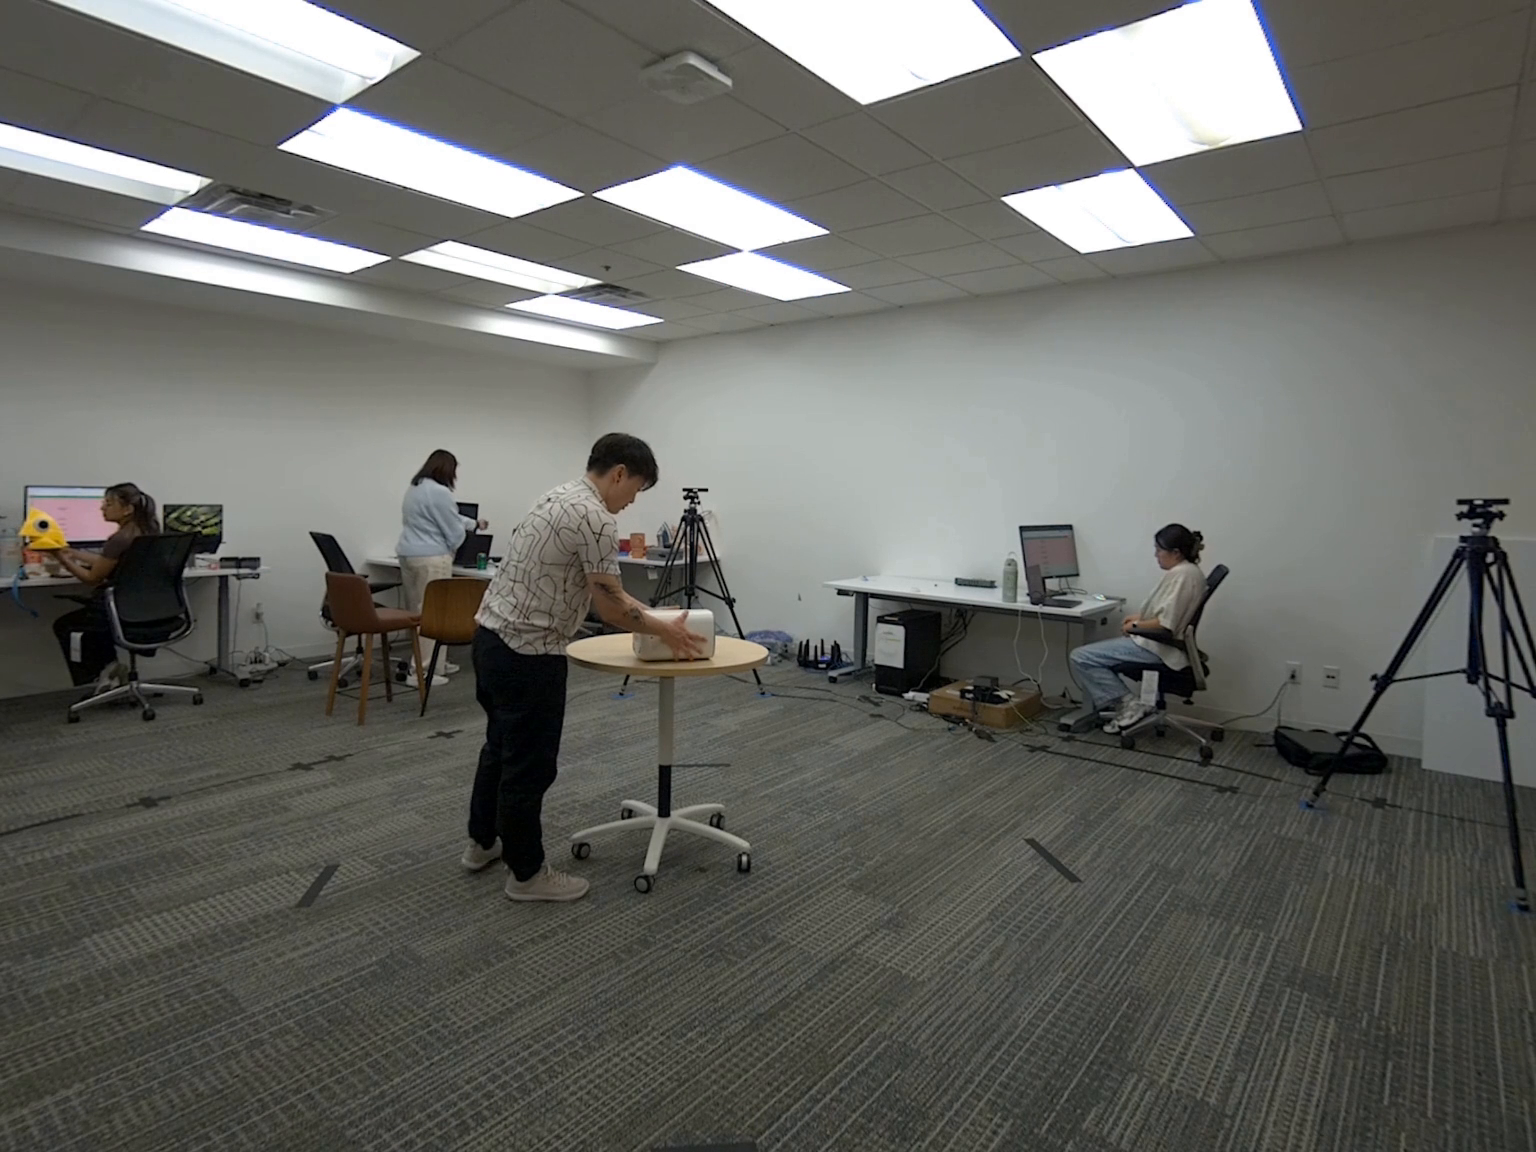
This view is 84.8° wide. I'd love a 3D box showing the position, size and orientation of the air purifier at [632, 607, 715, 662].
[{"bbox_3d":[-0.350,0.210,3.030,0.260,0.171,0.175,-1,3,-18],"label":"air purifier"}]
